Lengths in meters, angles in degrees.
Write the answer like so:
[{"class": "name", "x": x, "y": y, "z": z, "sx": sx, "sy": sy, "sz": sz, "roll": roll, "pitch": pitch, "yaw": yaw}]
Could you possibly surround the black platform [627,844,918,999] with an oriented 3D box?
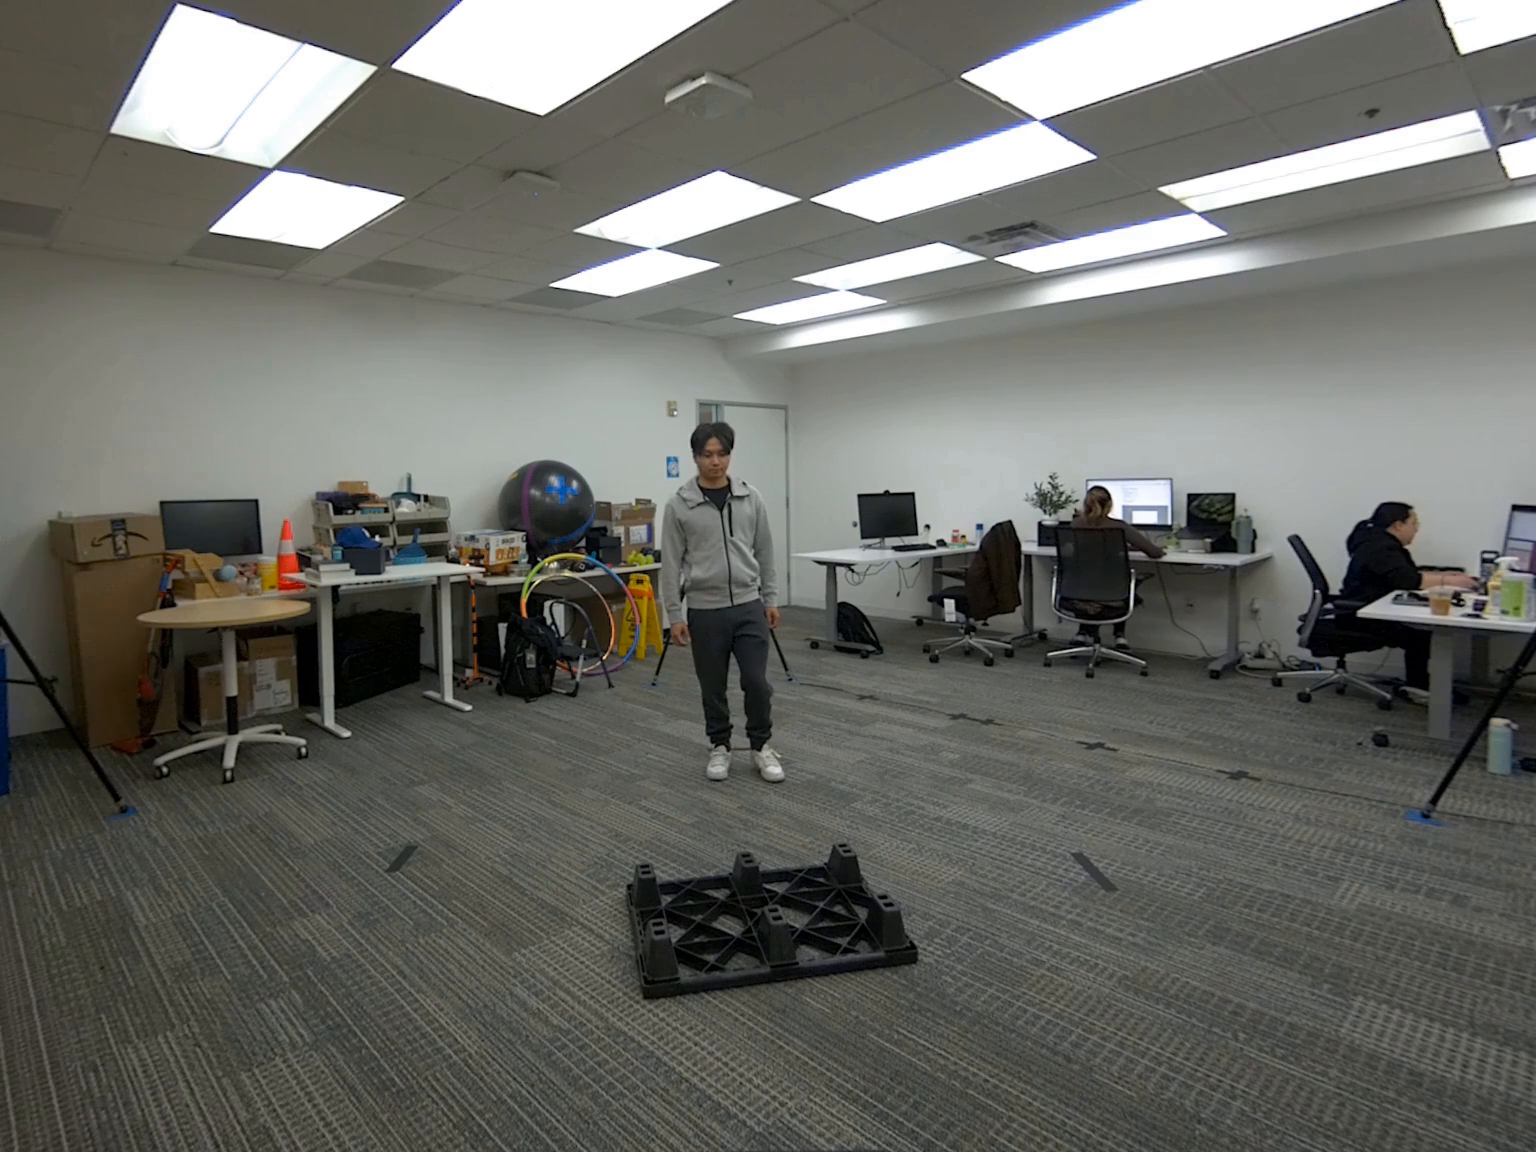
[{"class": "black platform", "x": -0.019, "y": 1.029, "z": 2.671, "sx": 0.796, "sy": 0.142, "sz": 0.615, "roll": -2, "pitch": 7, "yaw": -13}]
